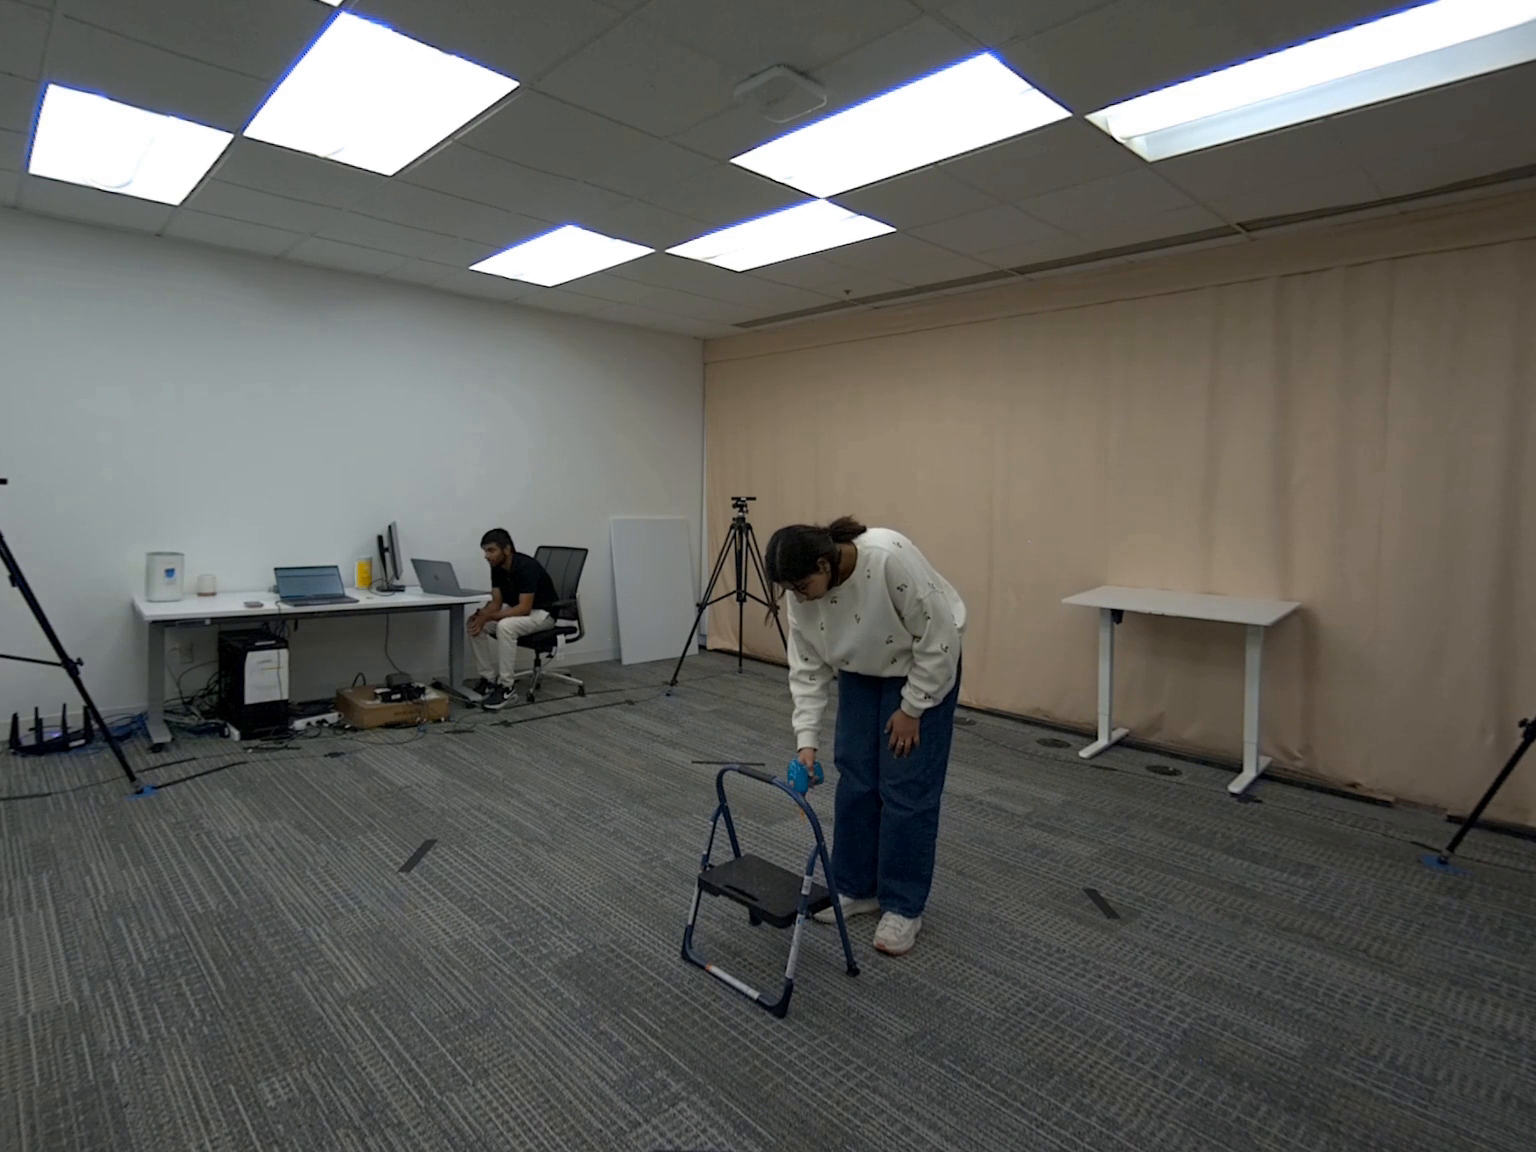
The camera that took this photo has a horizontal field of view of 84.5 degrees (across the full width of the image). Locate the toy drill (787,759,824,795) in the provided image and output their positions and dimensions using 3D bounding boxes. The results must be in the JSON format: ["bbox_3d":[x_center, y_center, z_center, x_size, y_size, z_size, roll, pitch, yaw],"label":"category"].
[{"bbox_3d":[0.103,0.647,2.549,0.062,0.172,0.142,-23,-23,32],"label":"toy drill"}]
